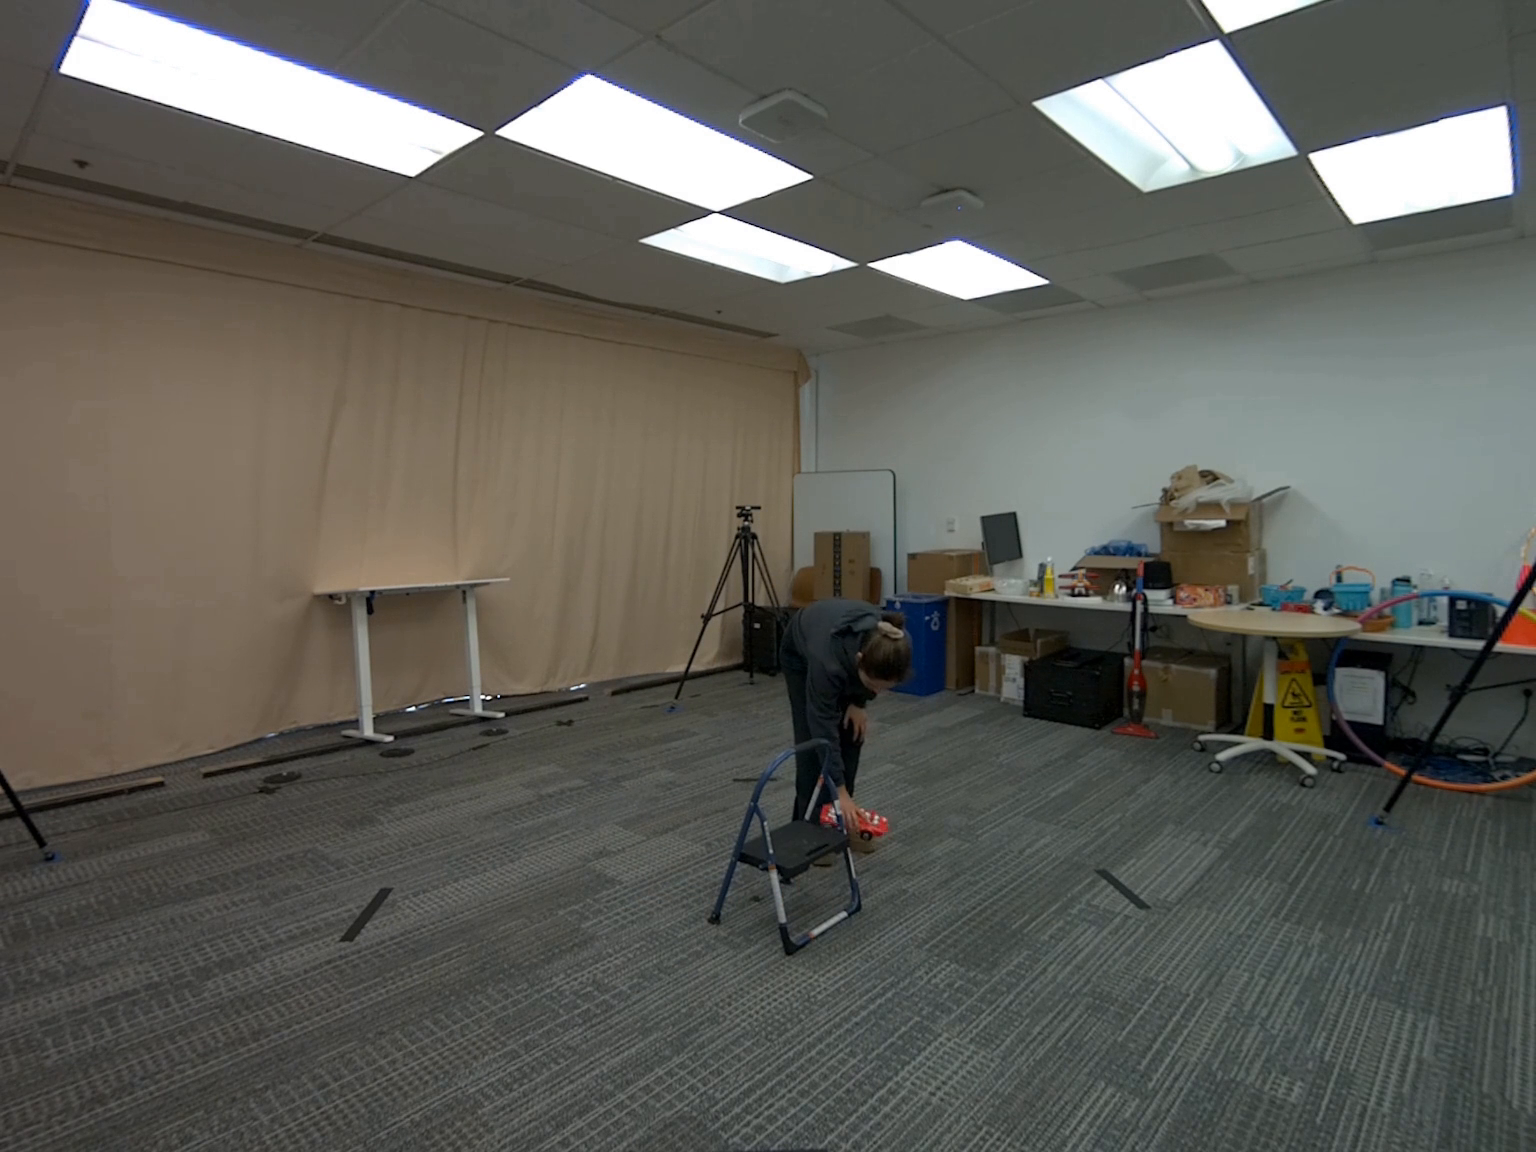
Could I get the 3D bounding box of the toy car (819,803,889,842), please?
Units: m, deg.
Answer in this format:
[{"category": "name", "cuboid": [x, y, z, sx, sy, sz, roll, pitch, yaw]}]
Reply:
[{"category": "toy car", "cuboid": [0.339, 0.922, 3.185, 0.259, 0.082, 0.130, 1, 20, 16]}]
